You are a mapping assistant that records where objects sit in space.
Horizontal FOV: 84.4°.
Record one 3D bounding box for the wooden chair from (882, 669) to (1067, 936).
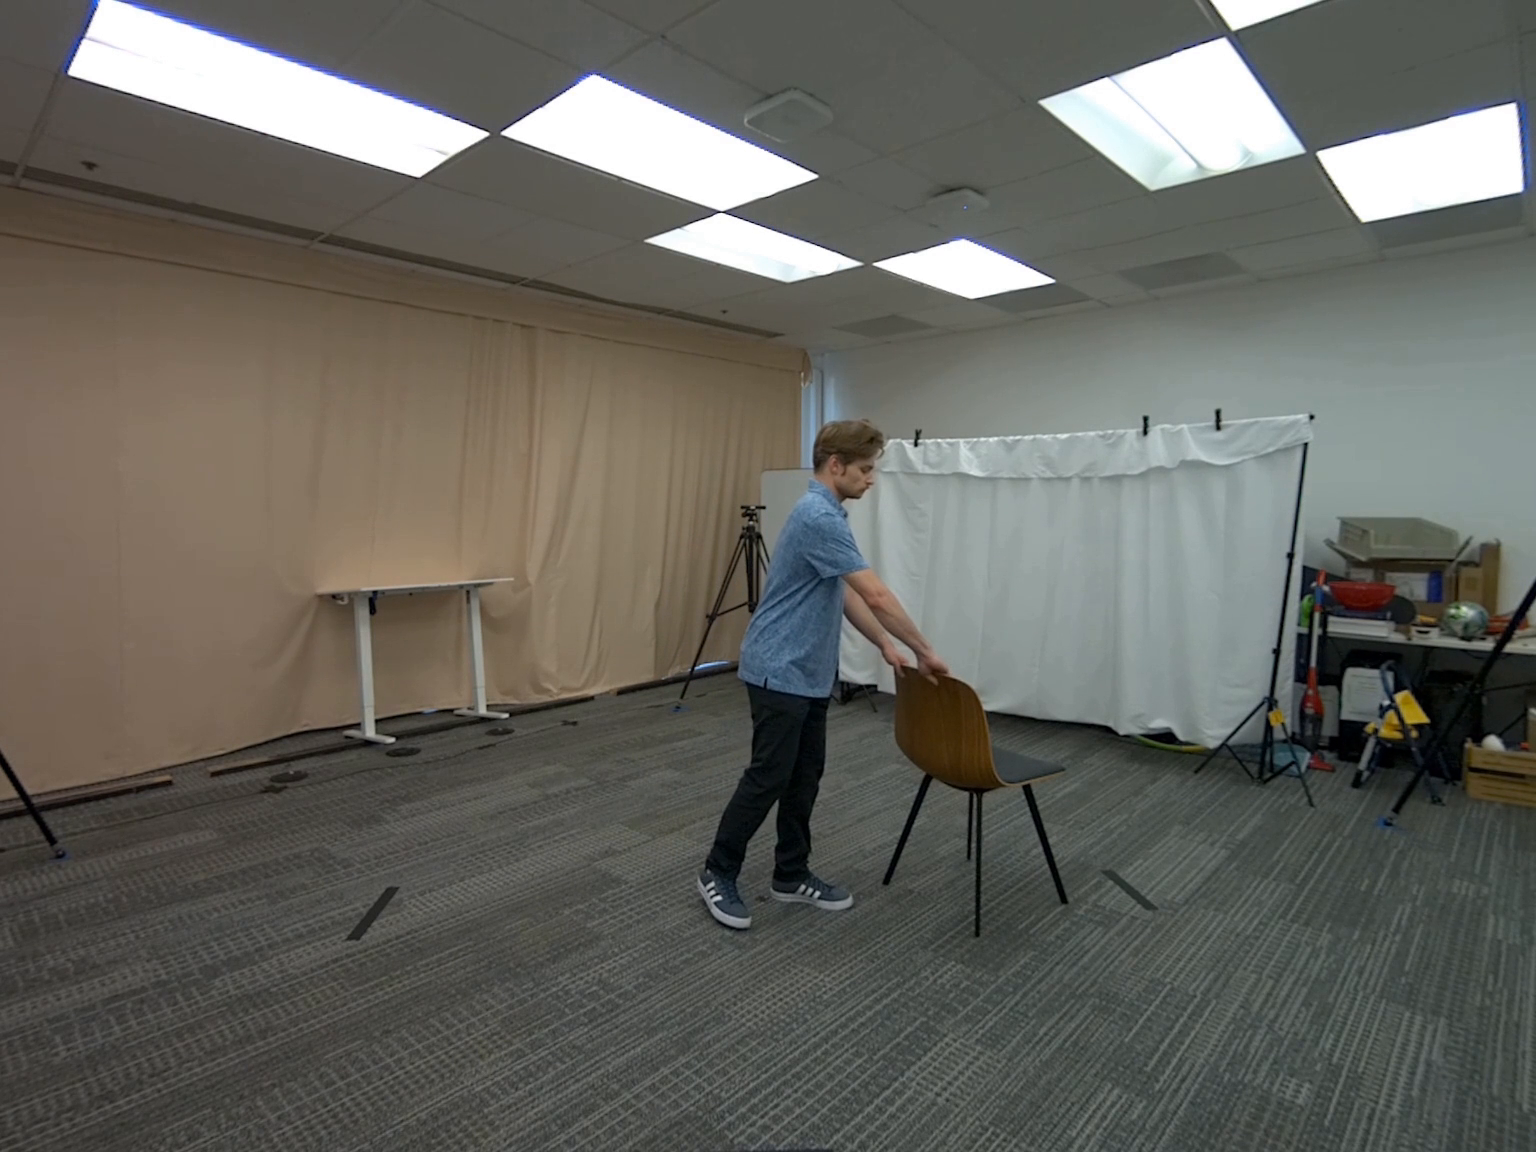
[{"bbox_3d":[0.748,0.714,2.985,0.509,0.874,0.493,-7,7,-33],"label":"wooden chair"}]
